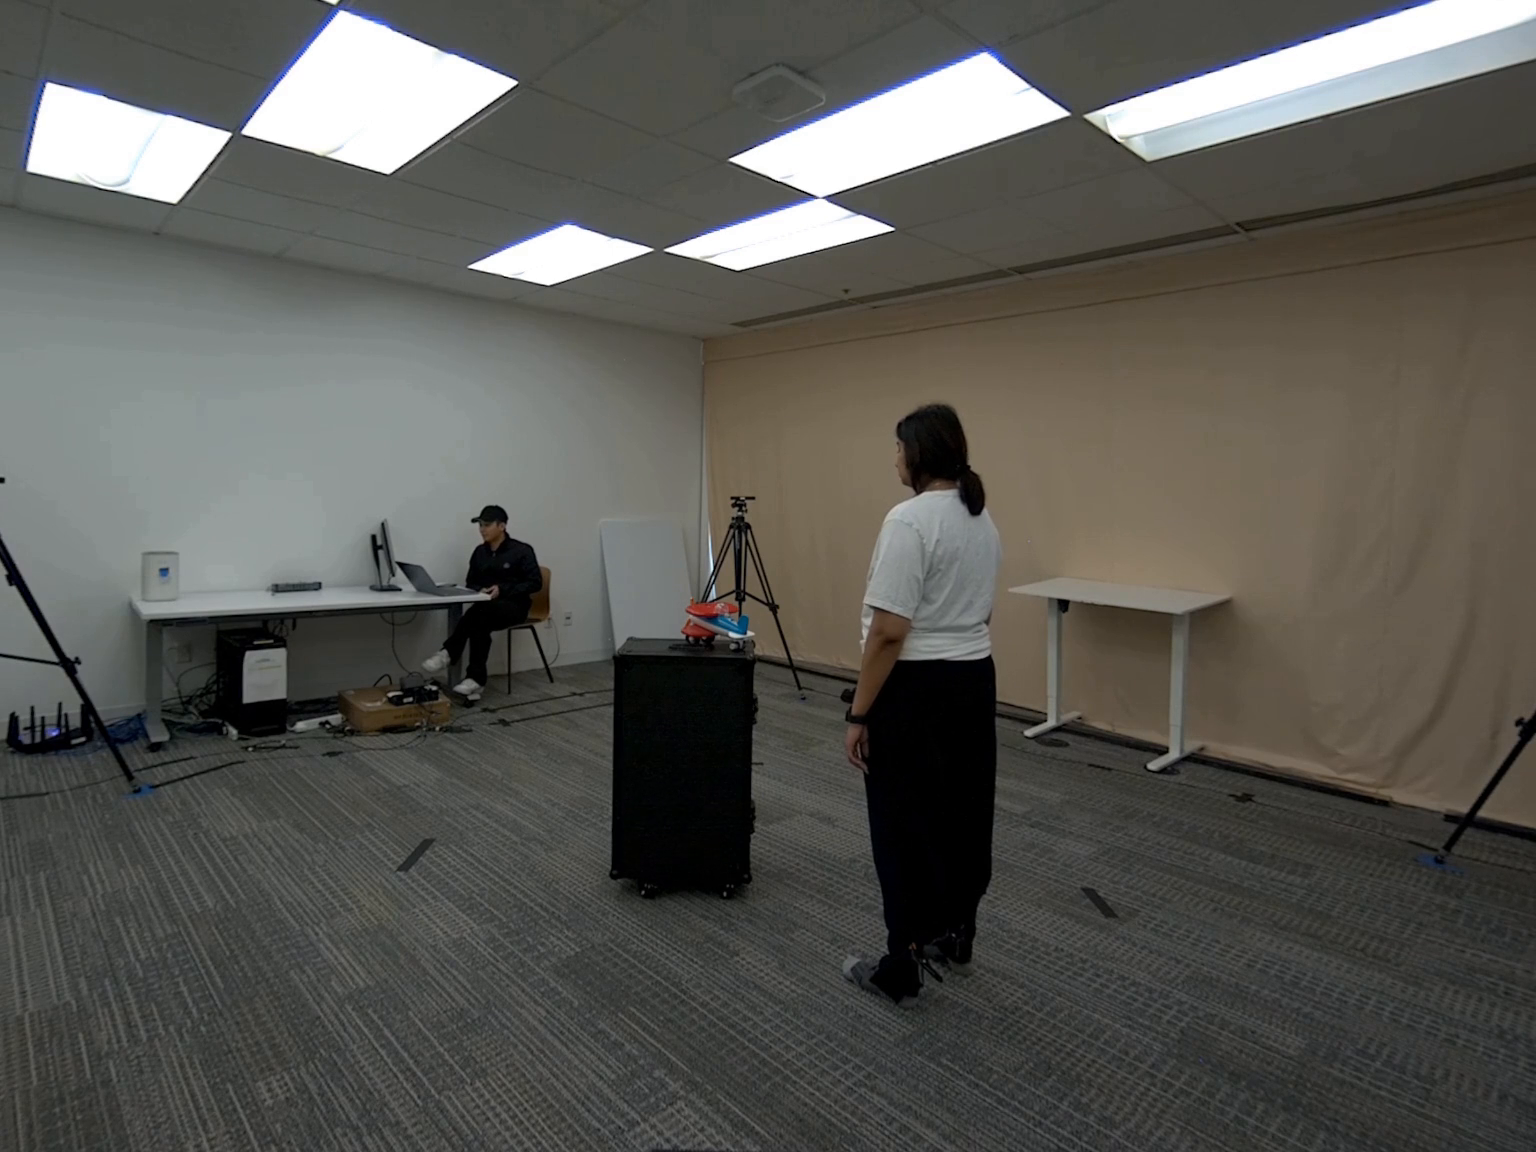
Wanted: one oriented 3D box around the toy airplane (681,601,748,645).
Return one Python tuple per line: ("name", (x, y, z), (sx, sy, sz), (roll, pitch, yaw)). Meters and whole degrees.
("toy airplane", (-0.184, 0.179, 3.055), (0.261, 0.156, 0.250), (1, 4, 8))
